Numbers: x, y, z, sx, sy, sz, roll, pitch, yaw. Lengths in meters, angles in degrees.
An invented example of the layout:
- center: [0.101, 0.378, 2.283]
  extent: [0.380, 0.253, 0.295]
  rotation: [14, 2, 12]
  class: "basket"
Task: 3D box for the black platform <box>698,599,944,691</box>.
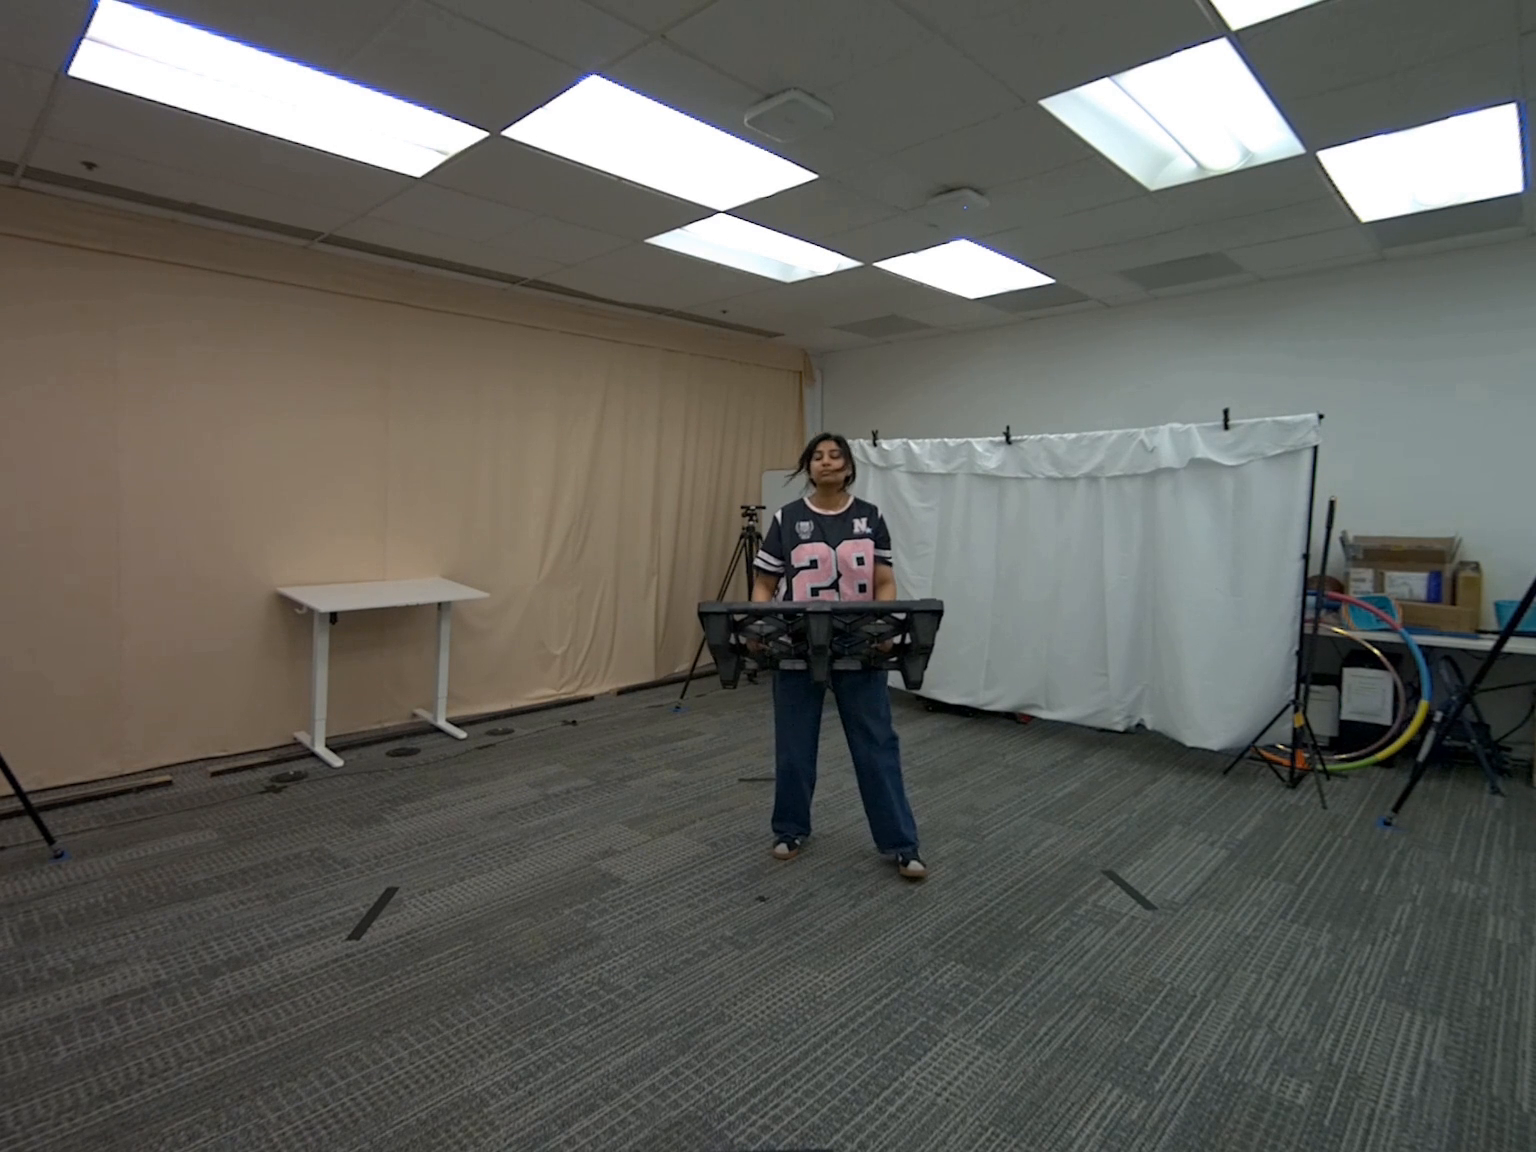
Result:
- center: [0.195, 0.262, 2.953]
  extent: [0.813, 0.145, 0.592]
  rotation: [-1, -25, 8]
  class: "black platform"
